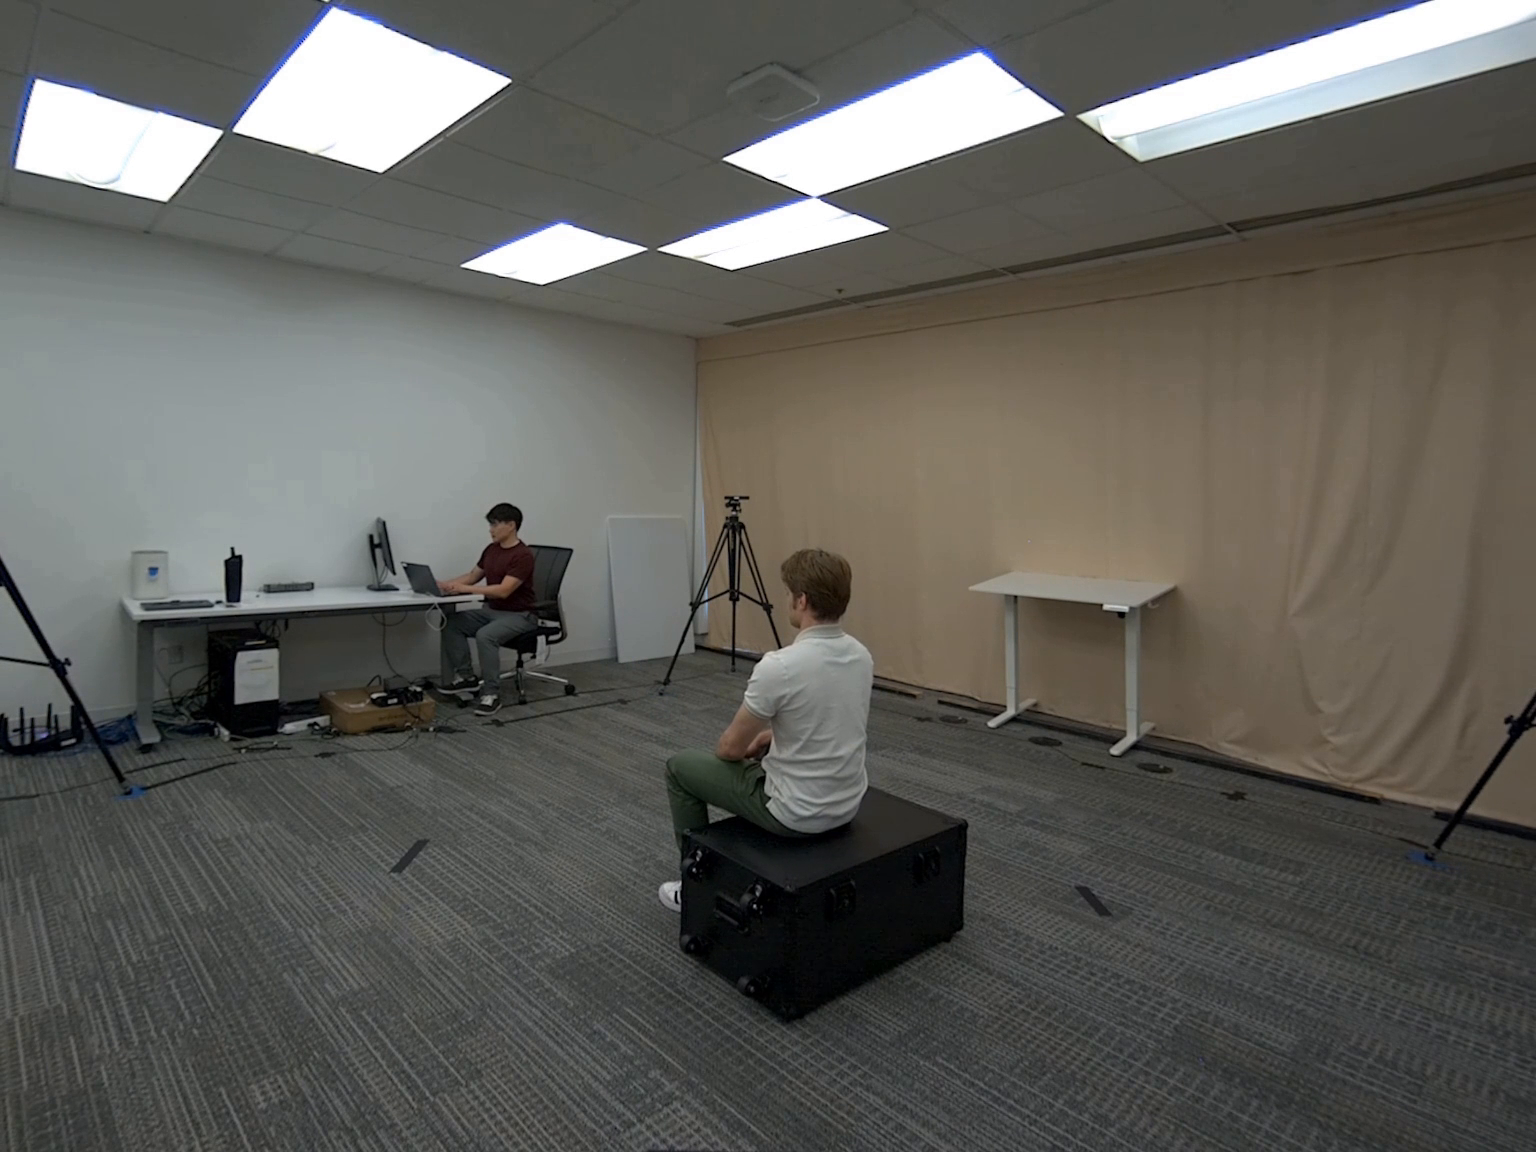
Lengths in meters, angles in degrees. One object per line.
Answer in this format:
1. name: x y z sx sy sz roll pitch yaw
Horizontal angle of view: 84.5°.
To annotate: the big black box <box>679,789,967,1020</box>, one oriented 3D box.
1. big black box: 0.150 0.965 2.608 0.849 0.384 0.537 -3 7 -41
